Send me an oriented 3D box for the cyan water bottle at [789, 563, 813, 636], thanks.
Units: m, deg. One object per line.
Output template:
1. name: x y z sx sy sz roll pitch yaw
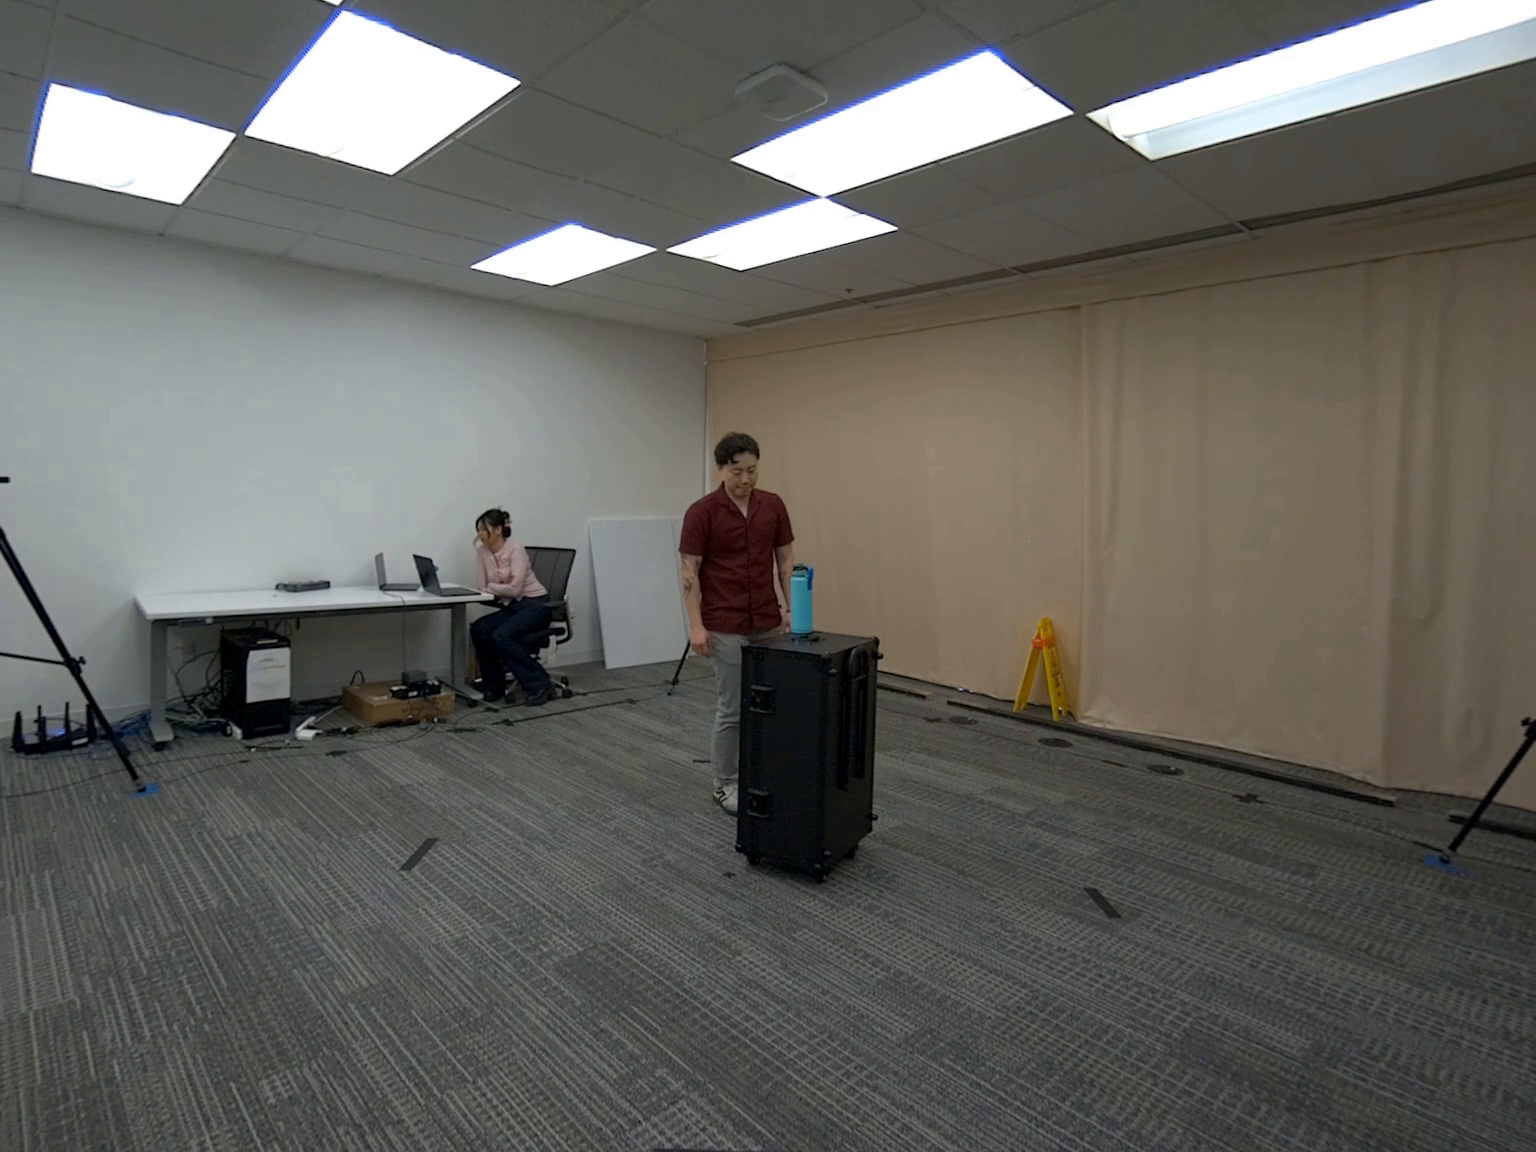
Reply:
1. cyan water bottle: 0.130 0.086 3.425 0.092 0.282 0.092 1 4 -1
